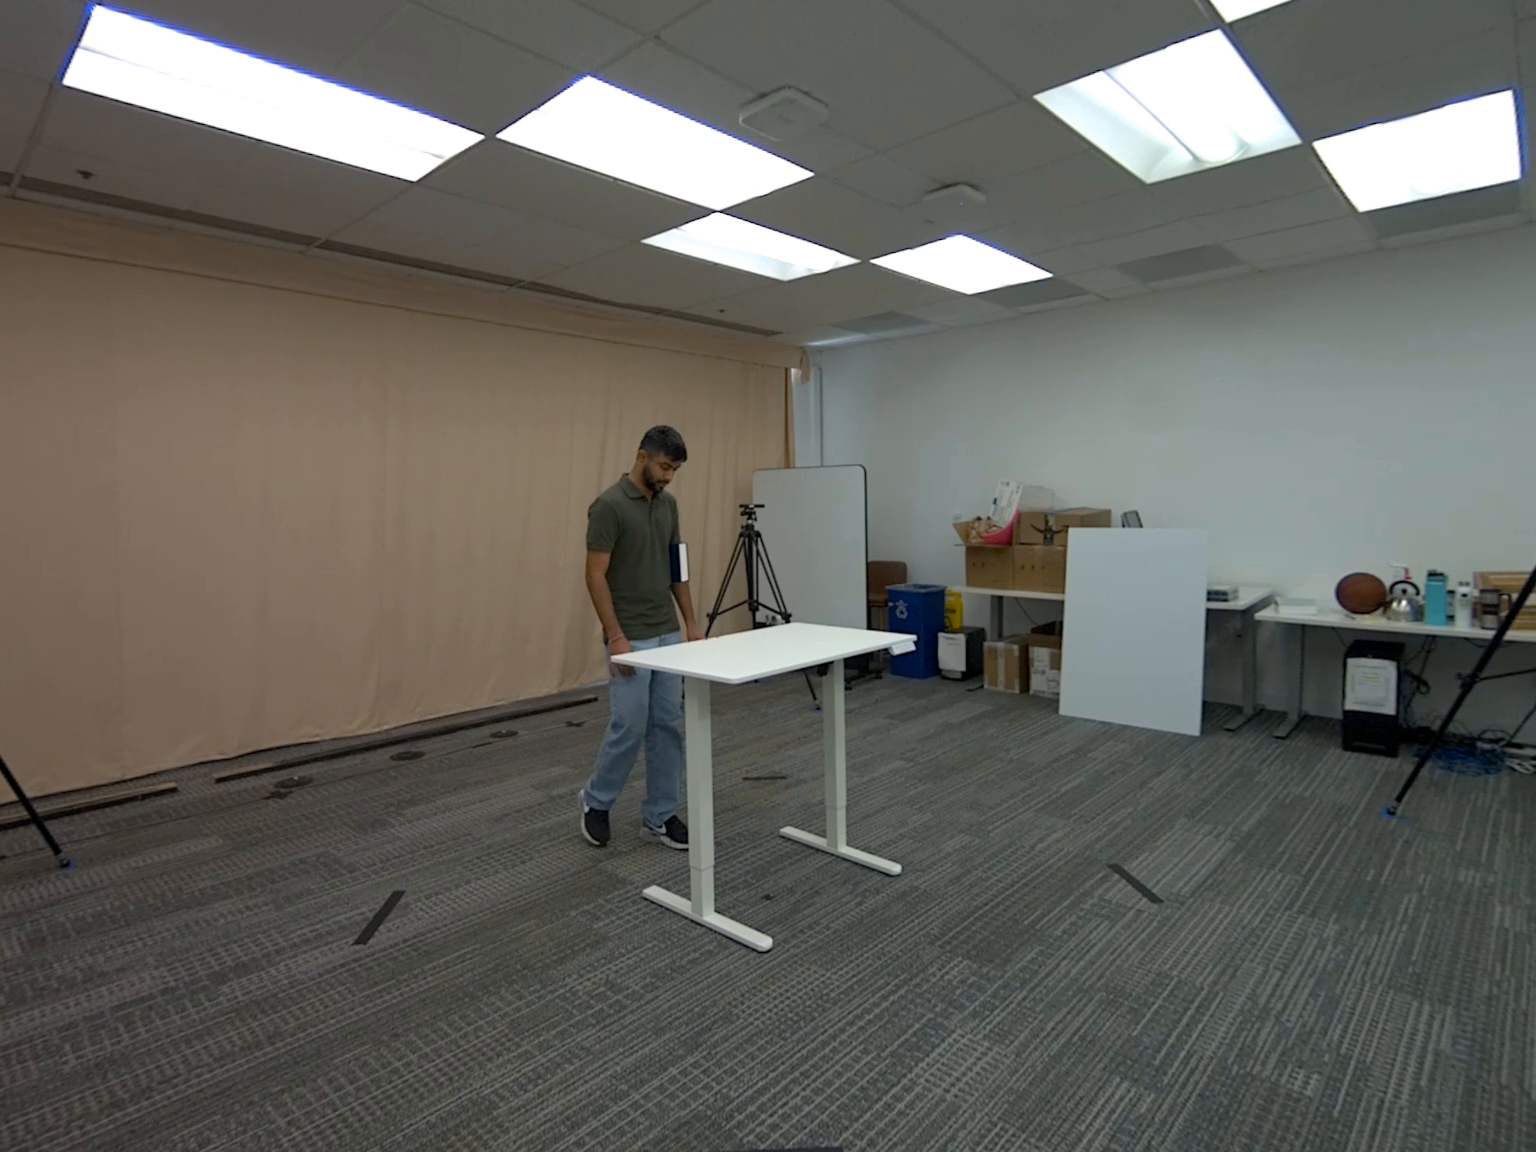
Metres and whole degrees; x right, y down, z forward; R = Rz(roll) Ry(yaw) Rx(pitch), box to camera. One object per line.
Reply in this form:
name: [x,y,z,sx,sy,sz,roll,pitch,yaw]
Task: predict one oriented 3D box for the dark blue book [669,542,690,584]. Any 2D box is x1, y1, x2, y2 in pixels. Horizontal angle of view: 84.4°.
dark blue book: [-0.431,-0.052,3.572,0.044,0.163,0.252,-3,-1,-45]
